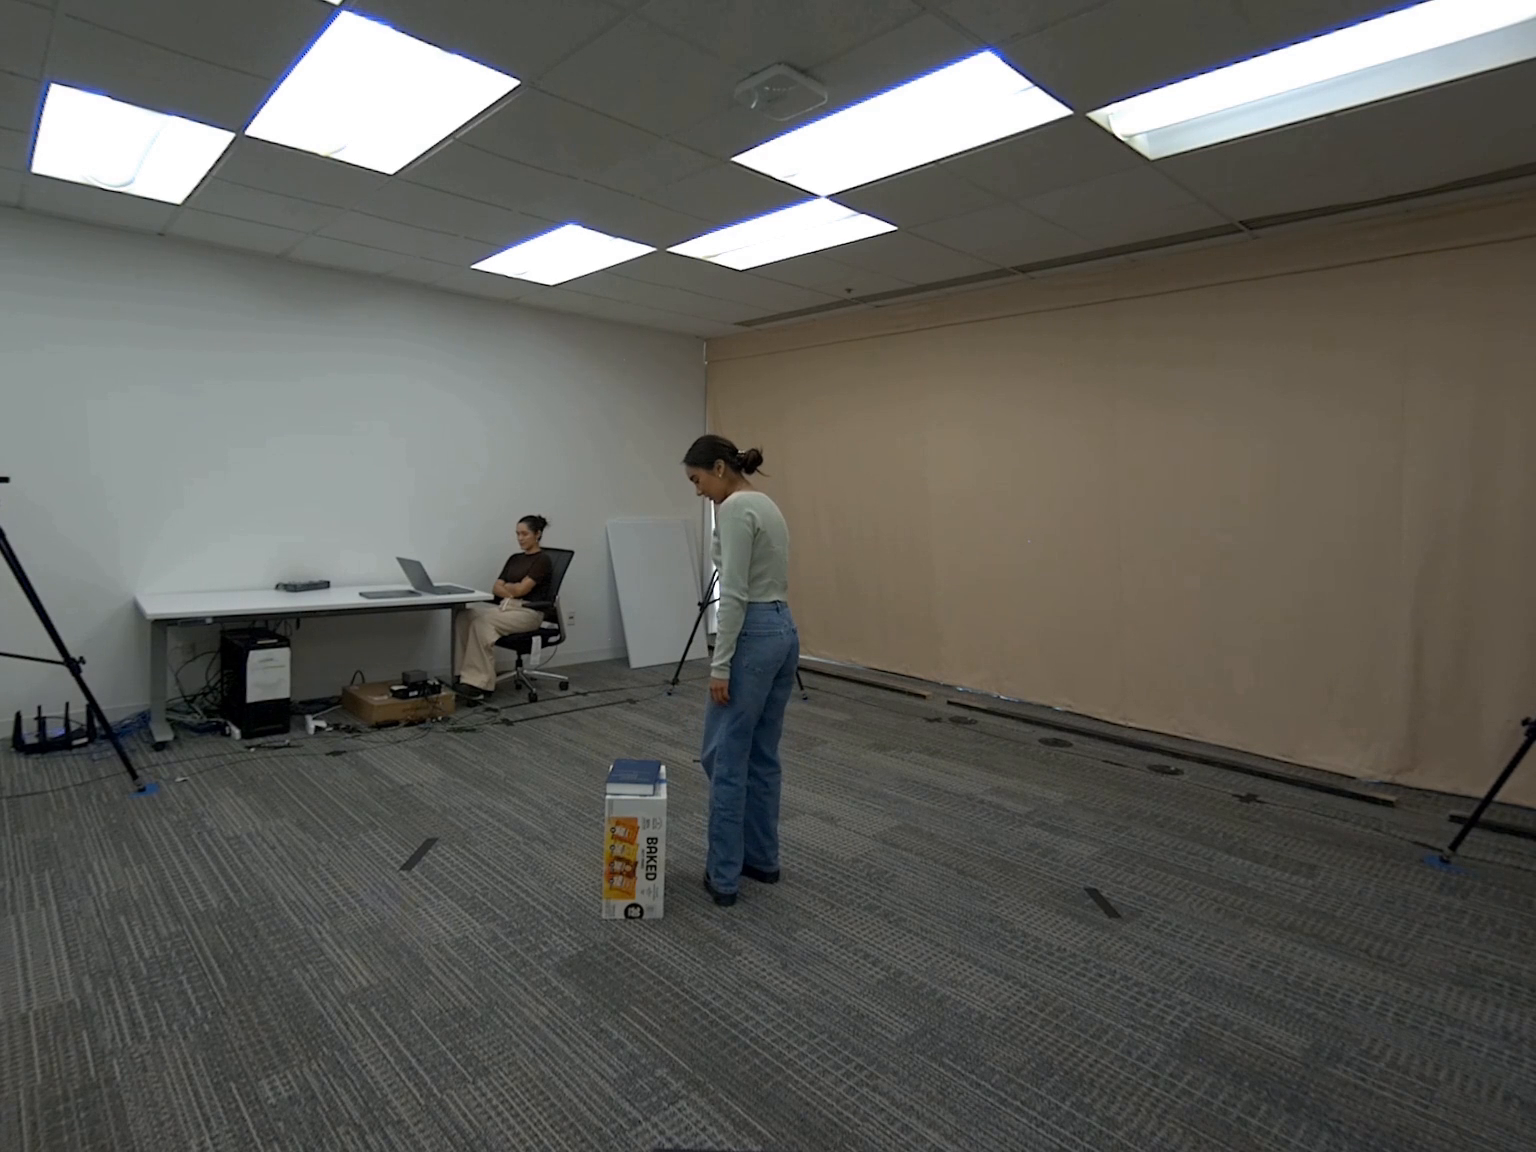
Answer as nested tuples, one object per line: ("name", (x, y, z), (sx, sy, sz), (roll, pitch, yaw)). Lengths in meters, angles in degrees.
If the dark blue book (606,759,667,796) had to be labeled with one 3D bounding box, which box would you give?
("dark blue book", (-0.462, 0.695, 2.884), (0.163, 0.045, 0.246), (1, 5, -1))
